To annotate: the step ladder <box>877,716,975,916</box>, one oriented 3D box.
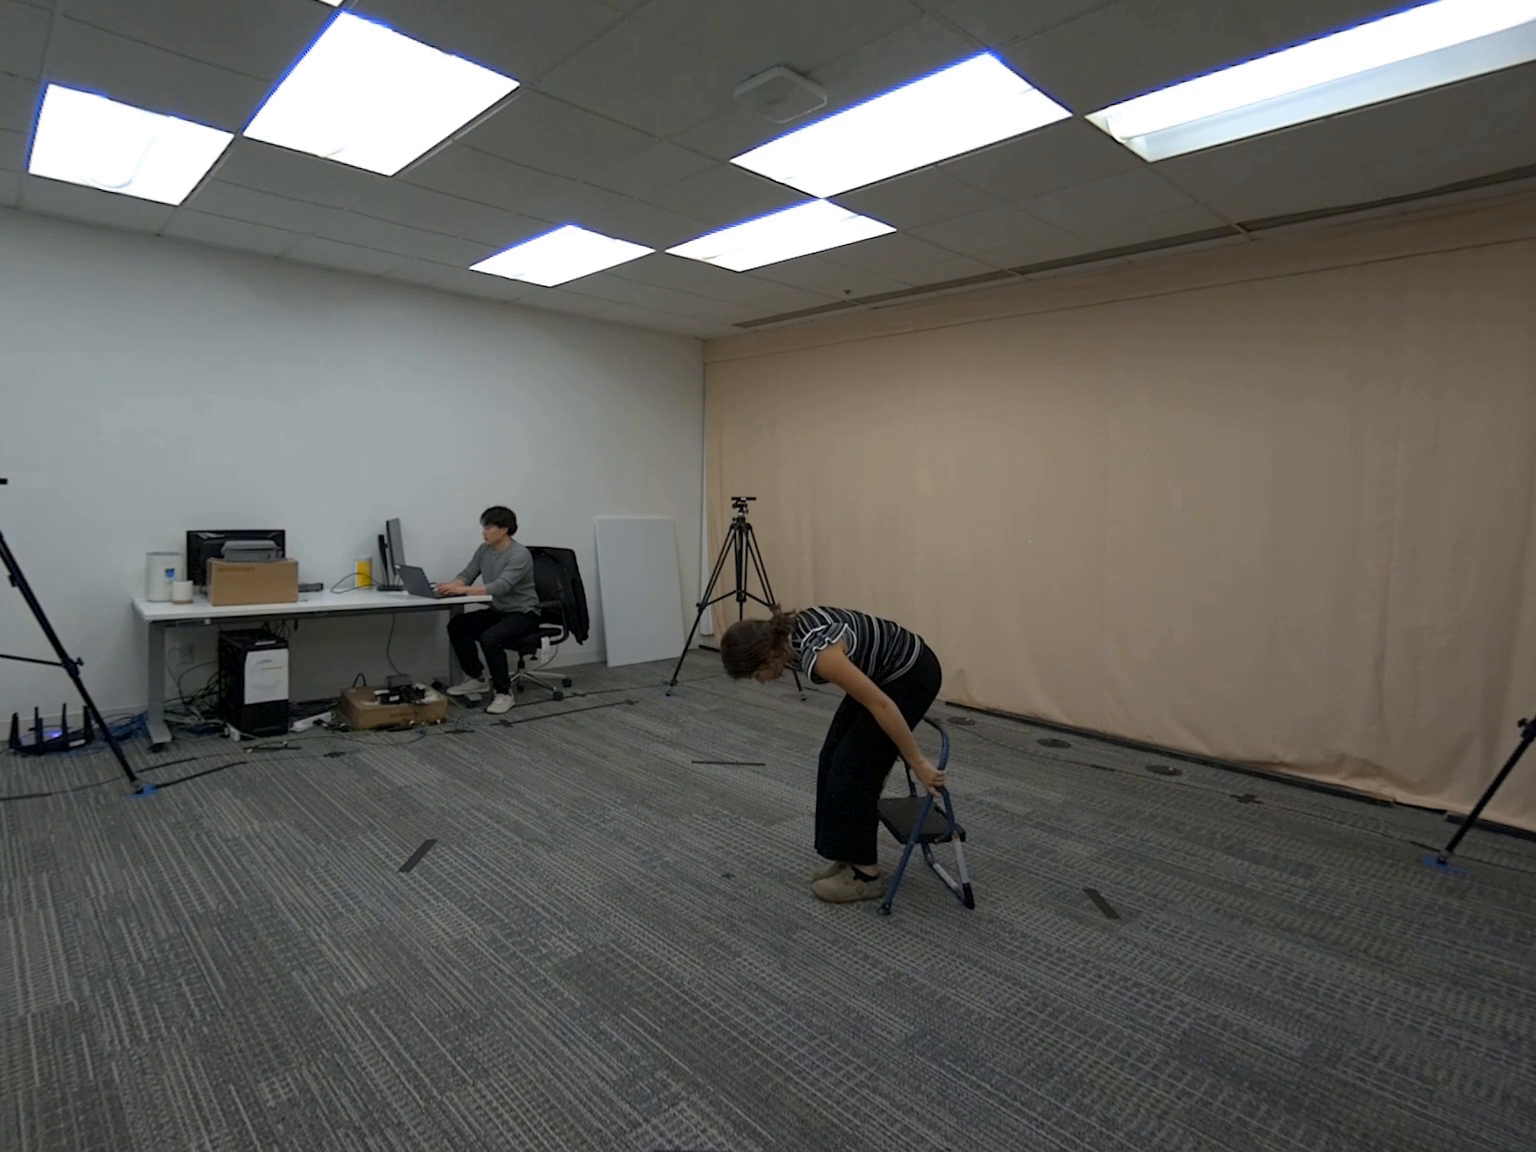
[{"bbox_3d":[0.510,0.828,3.052,0.346,0.604,0.435,0,4,-10],"label":"step ladder"}]
